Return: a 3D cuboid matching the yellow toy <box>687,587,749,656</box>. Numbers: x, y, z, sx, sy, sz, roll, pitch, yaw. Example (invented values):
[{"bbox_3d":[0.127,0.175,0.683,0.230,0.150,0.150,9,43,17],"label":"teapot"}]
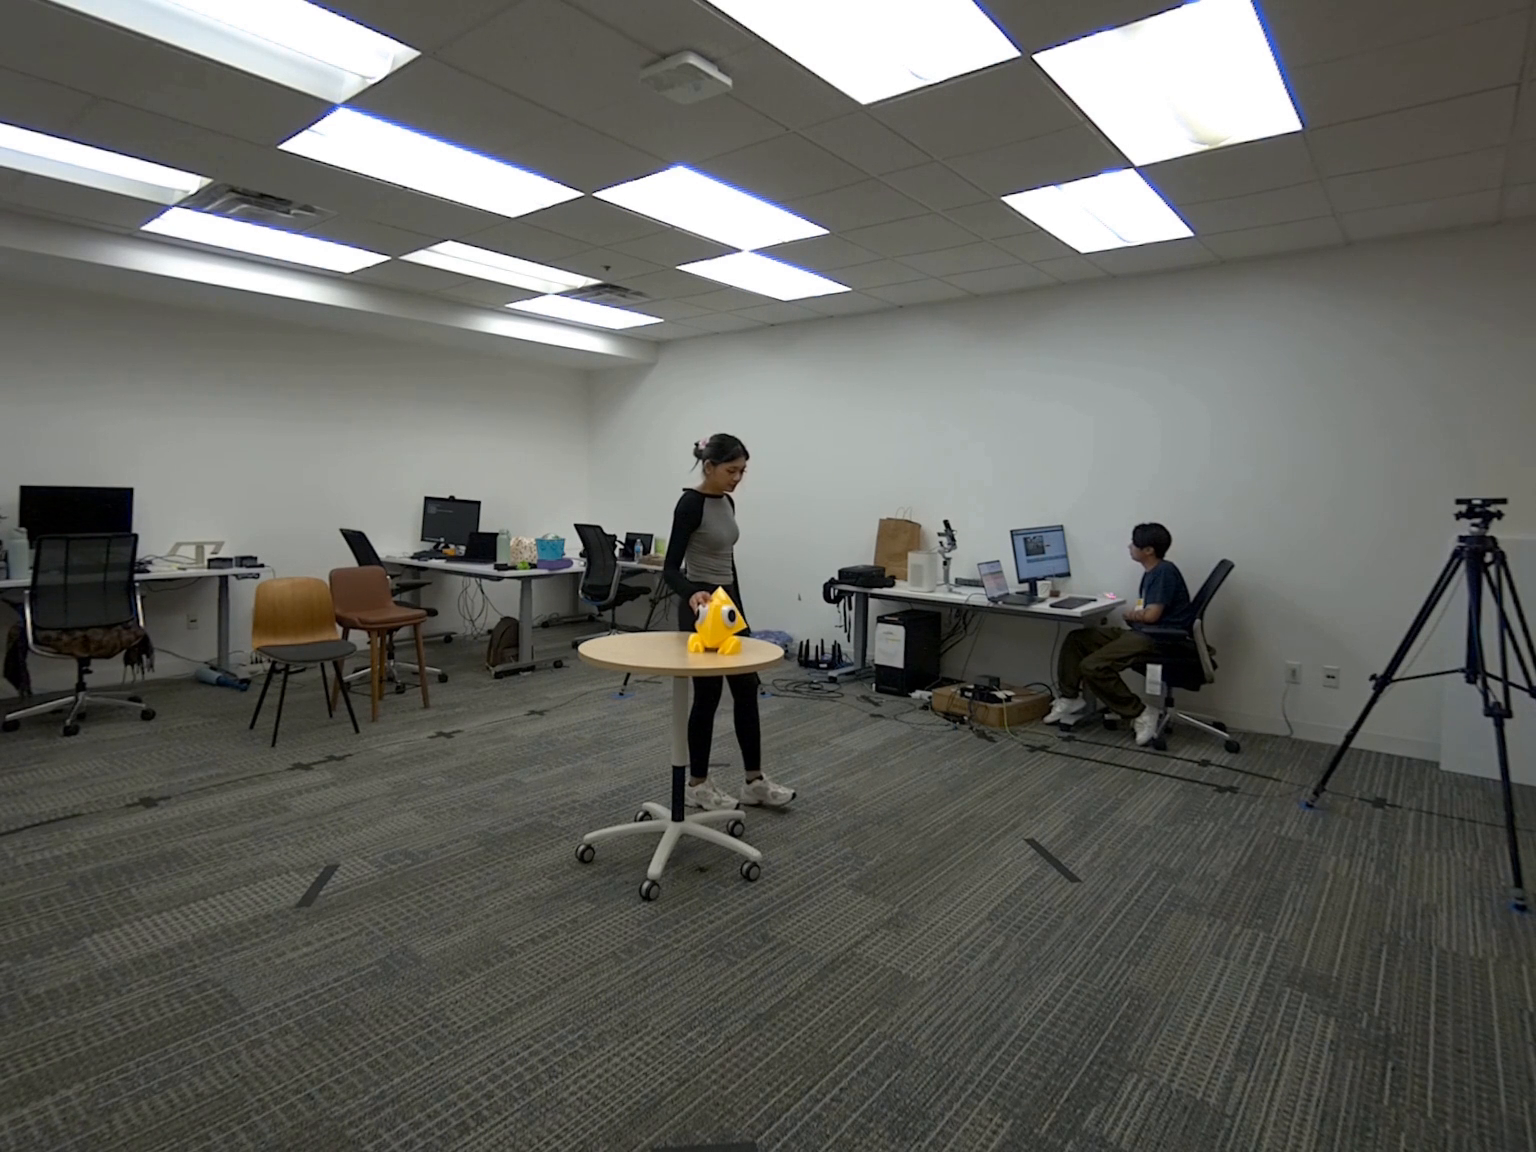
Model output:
[{"bbox_3d":[-0.206,0.157,3.166,0.208,0.230,0.191,2,4,12],"label":"yellow toy"}]
